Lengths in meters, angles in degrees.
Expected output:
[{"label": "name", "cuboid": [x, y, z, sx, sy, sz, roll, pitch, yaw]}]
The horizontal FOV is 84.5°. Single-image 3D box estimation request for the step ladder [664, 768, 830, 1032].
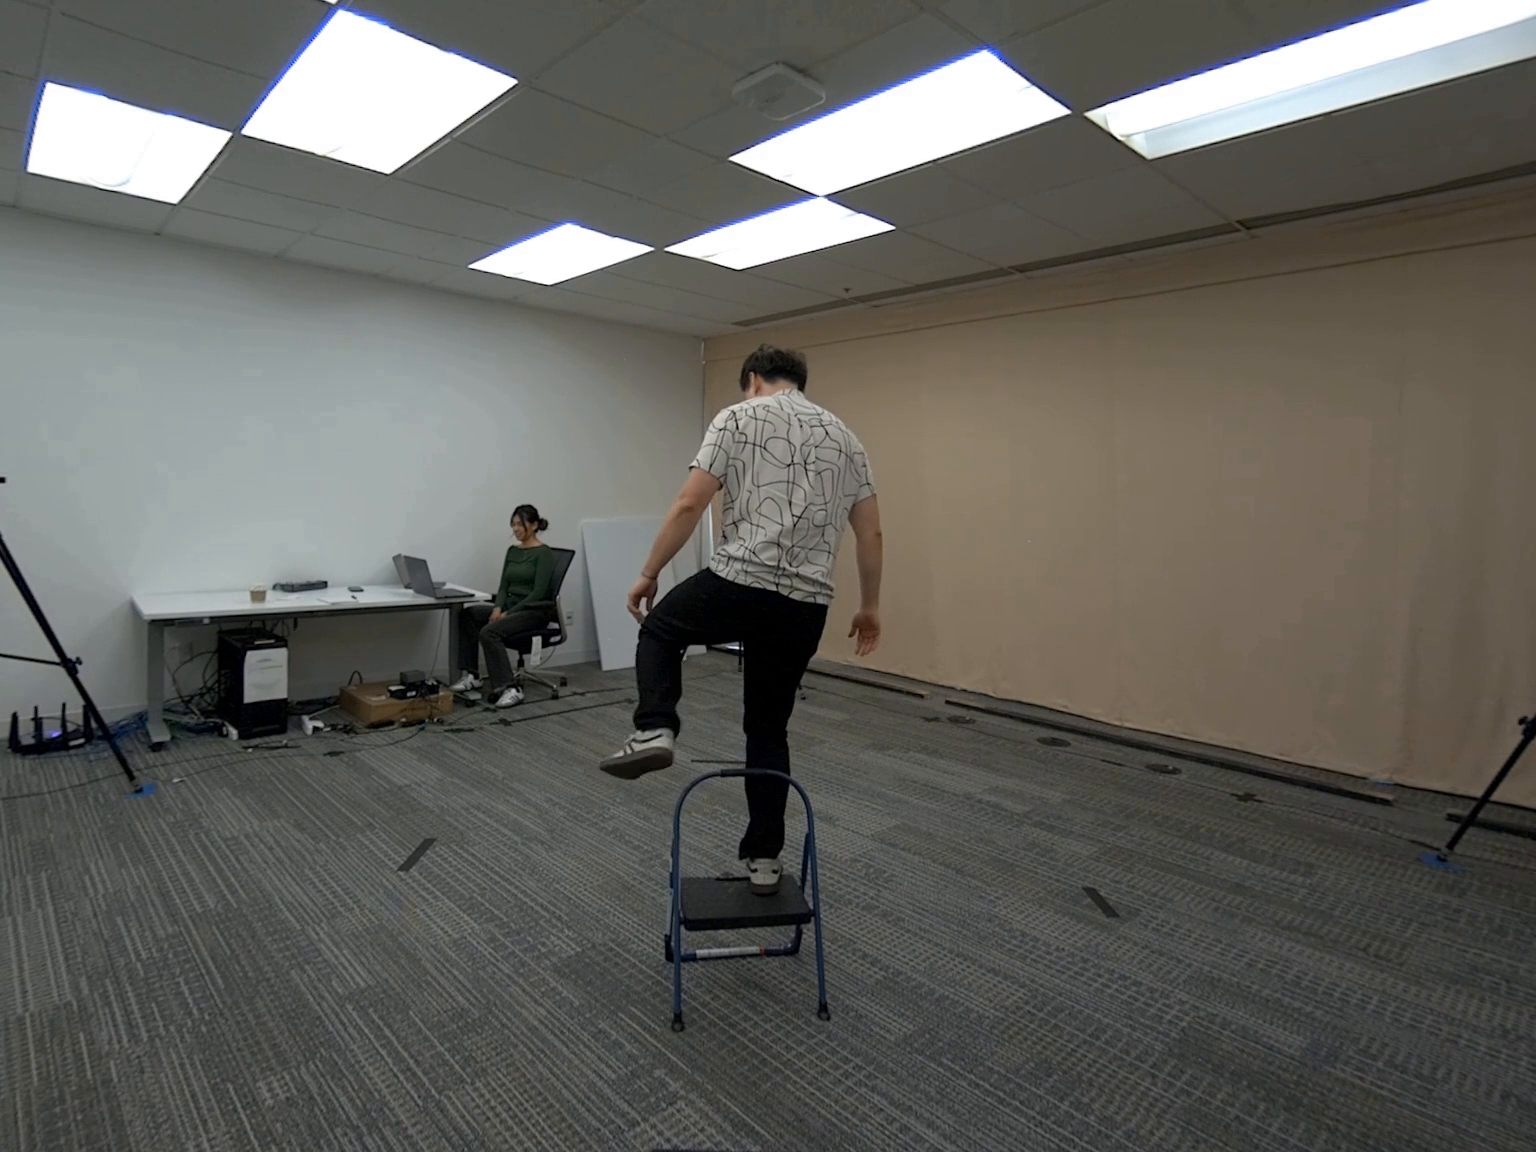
[{"label": "step ladder", "cuboid": [-0.068, 0.876, 2.370, 0.427, 0.604, 0.353, 1, 4, -11]}]
